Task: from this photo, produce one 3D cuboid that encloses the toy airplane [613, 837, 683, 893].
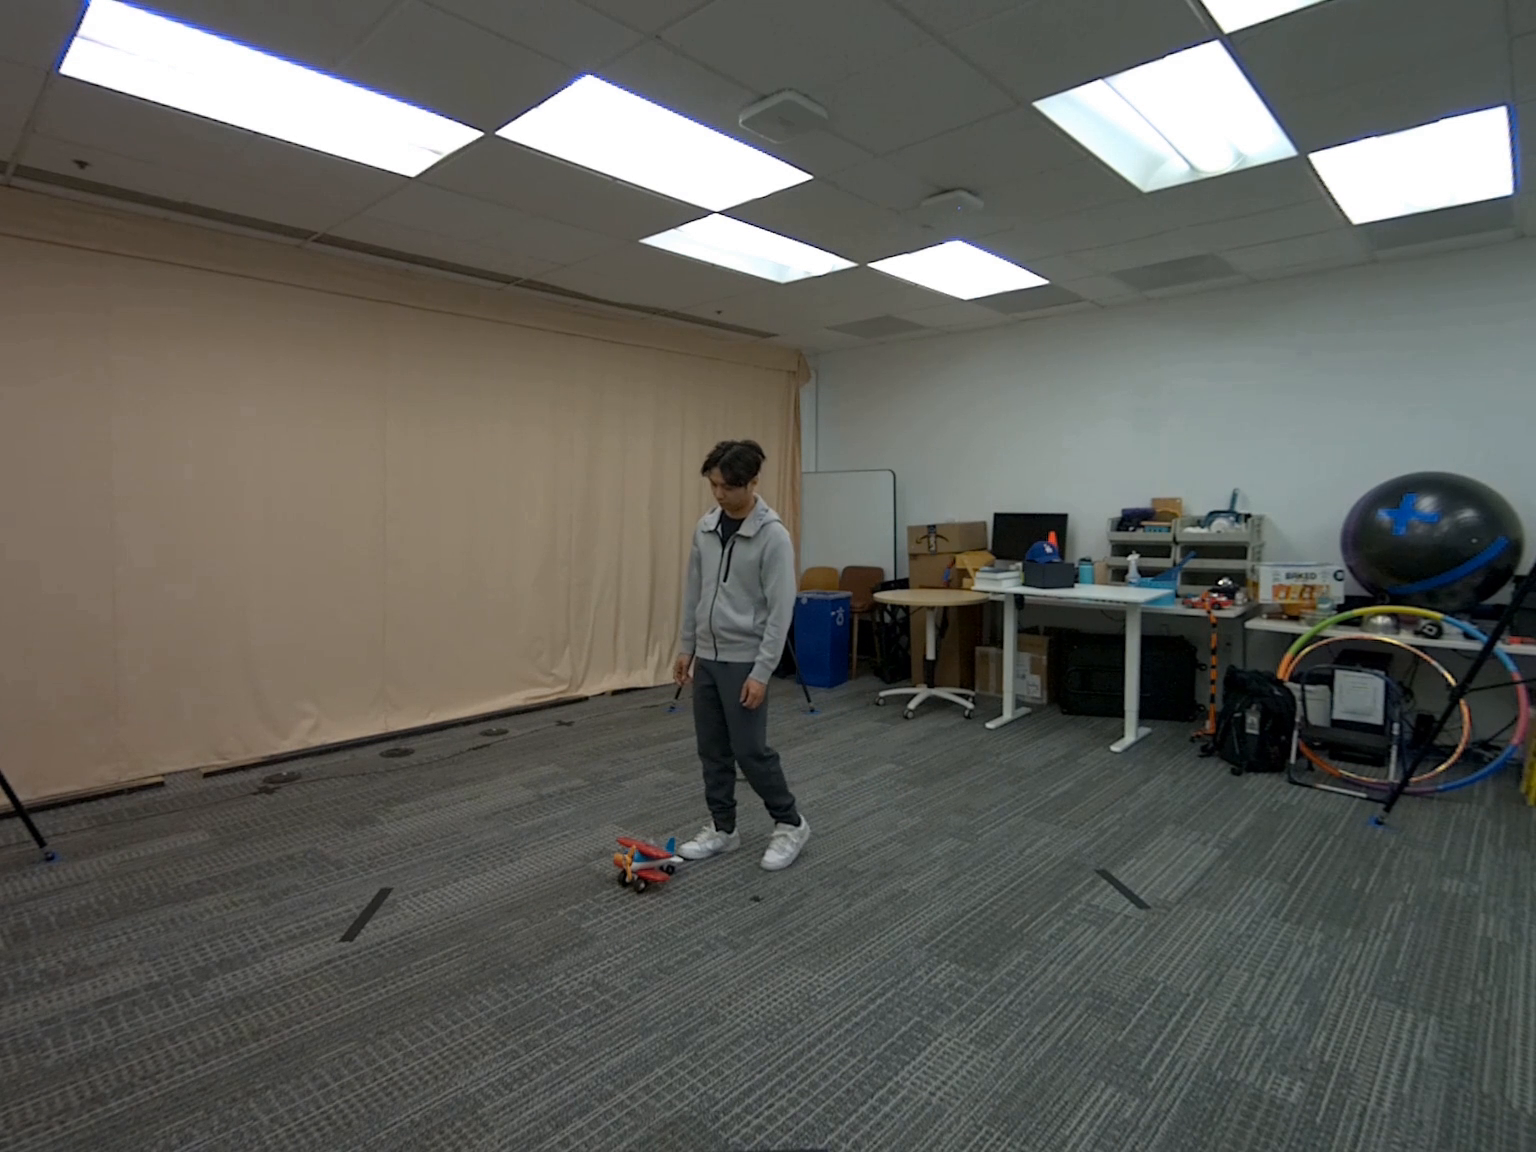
[{"bbox_3d":[-0.456,1.060,3.138,0.254,0.156,0.256,0,6,12],"label":"toy airplane"}]
